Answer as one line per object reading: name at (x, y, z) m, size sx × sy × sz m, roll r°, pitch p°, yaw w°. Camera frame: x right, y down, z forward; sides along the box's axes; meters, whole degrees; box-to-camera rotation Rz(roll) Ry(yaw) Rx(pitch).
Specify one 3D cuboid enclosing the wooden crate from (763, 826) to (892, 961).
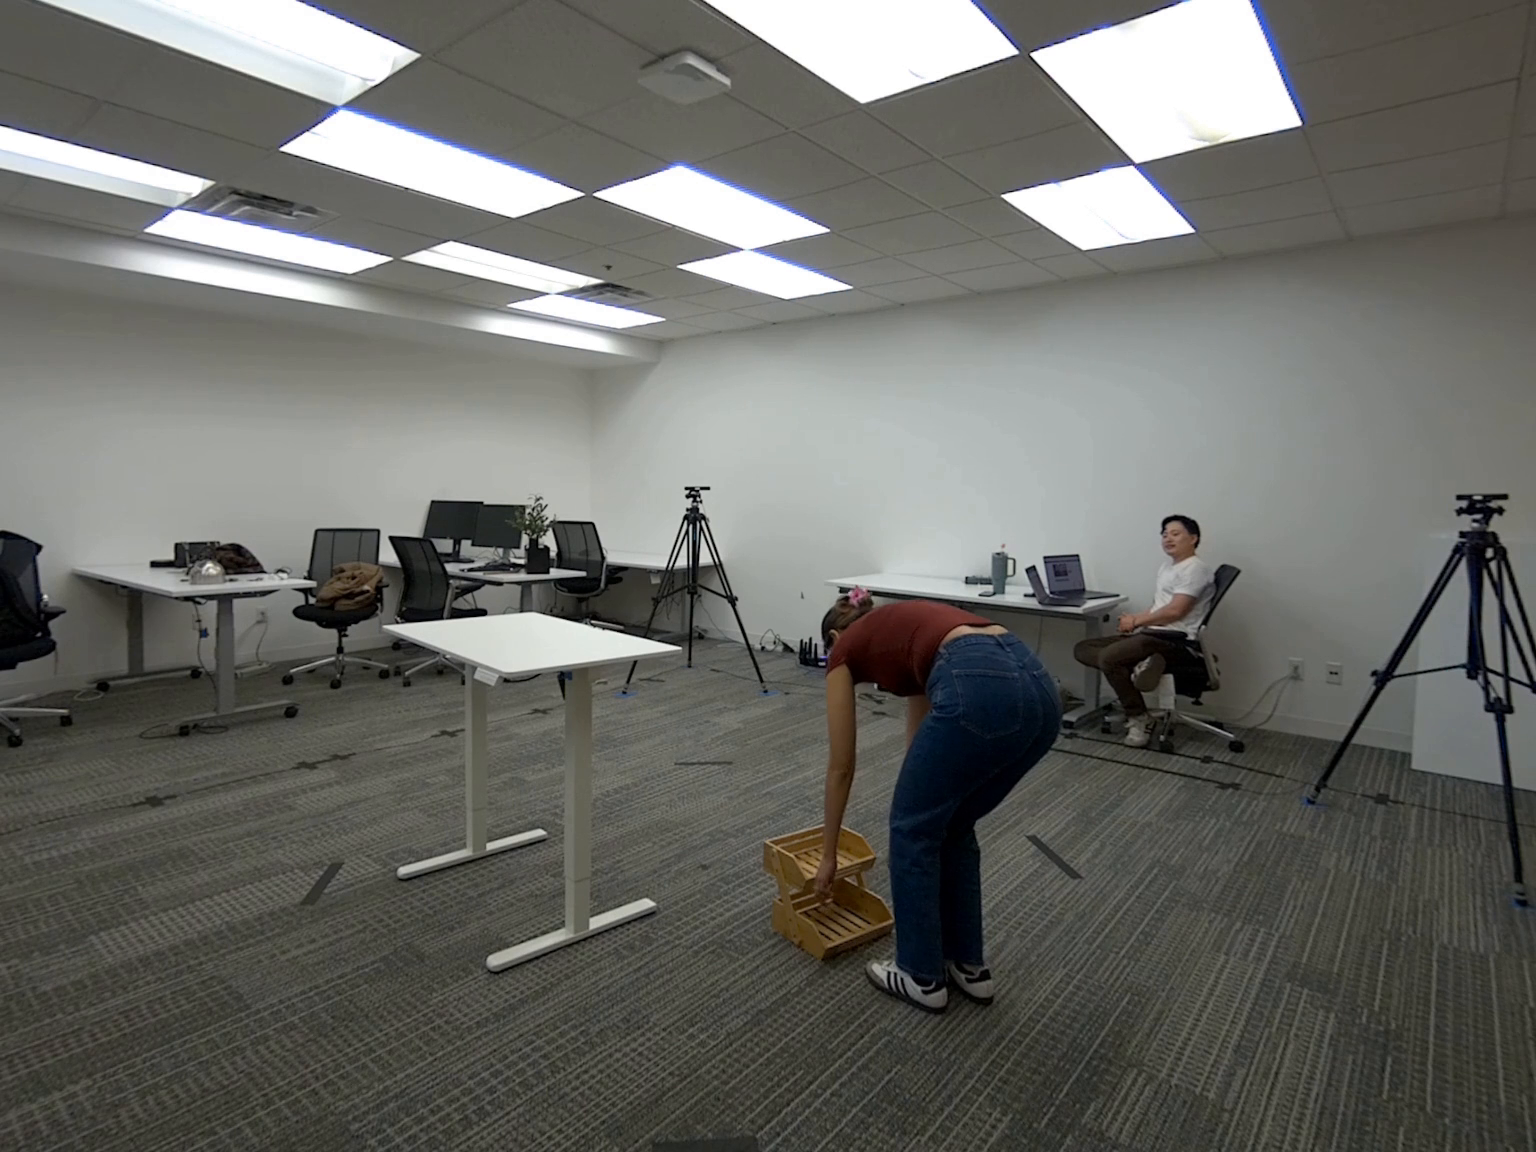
wooden crate at (0.189, 0.977, 2.691) m, size 0.315 × 0.272 × 0.312 m, roll -2°, pitch 5°, yaw -37°
